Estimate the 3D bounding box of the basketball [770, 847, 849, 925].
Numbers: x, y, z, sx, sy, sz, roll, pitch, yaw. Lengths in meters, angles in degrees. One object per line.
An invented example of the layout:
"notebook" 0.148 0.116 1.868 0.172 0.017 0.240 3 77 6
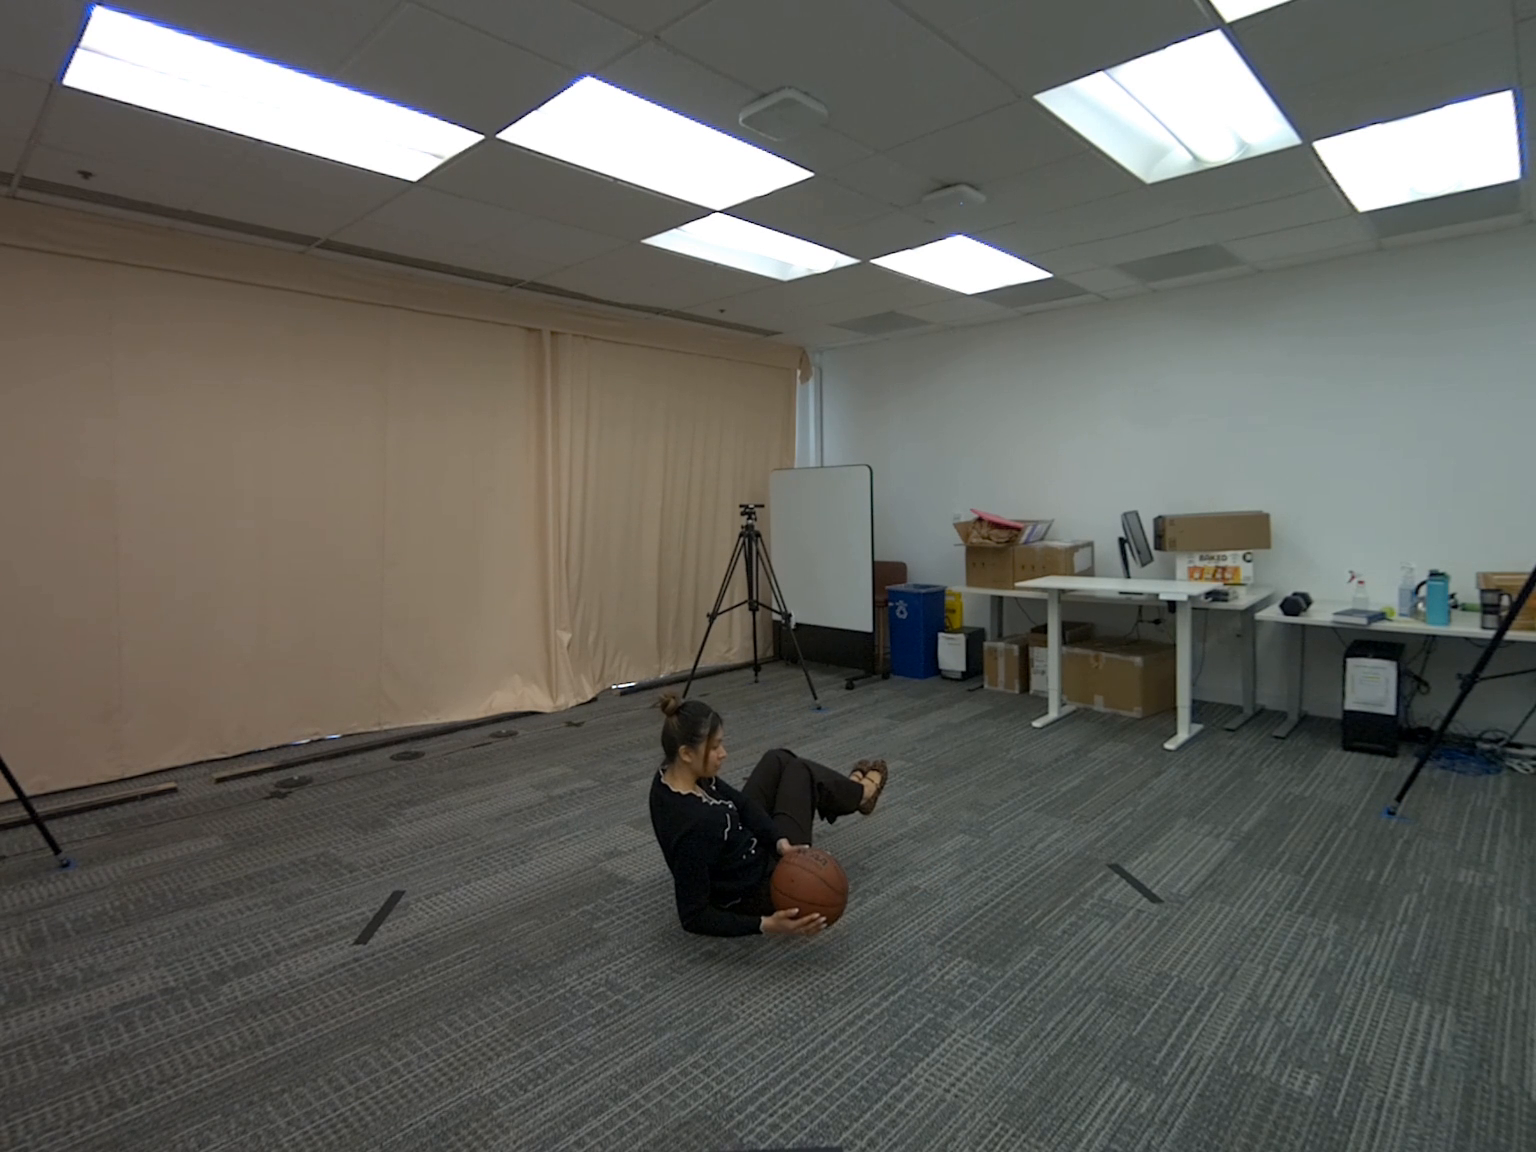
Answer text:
"basketball" 0.129 0.920 2.546 0.236 0.235 0.237 -1 4 -2
